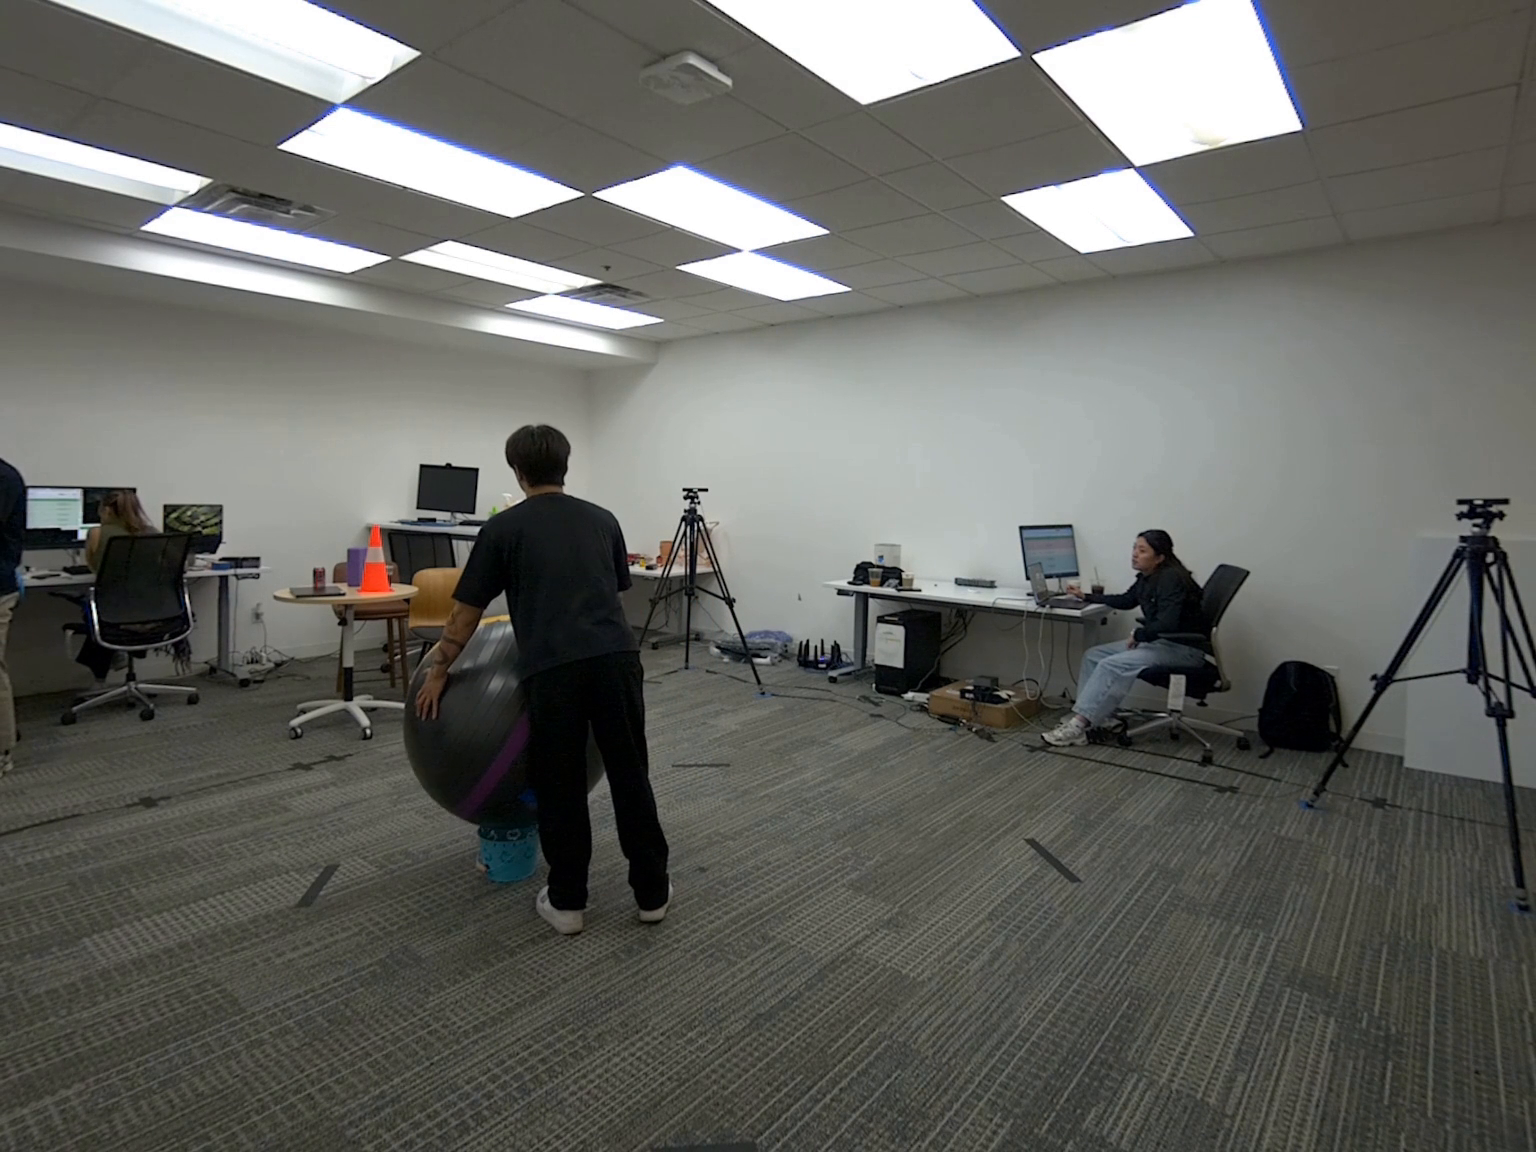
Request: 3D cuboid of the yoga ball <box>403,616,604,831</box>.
[{"bbox_3d":[-0.931,0.513,3.073,0.757,0.755,0.762,1,4,-2],"label":"yoga ball"}]
